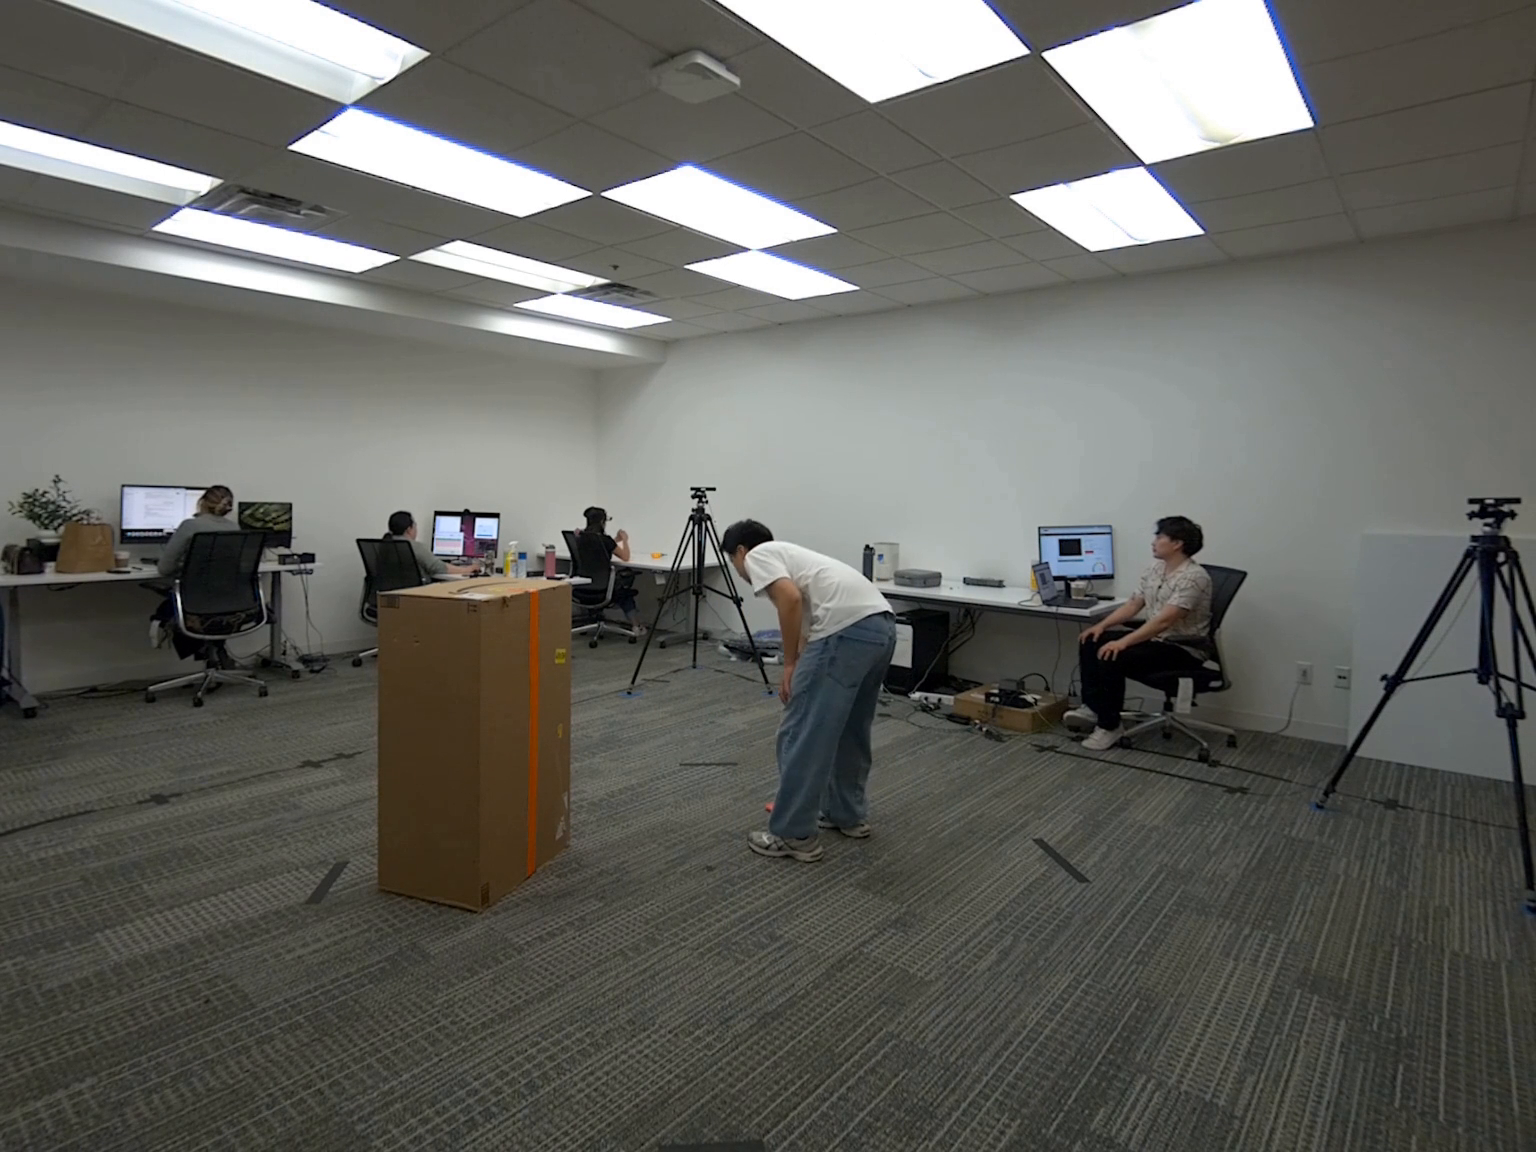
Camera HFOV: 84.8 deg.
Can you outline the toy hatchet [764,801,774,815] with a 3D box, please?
[{"bbox_3d":[0.032,1.008,3.598,0.133,0.029,0.268,2,7,10],"label":"toy hatchet"}]
